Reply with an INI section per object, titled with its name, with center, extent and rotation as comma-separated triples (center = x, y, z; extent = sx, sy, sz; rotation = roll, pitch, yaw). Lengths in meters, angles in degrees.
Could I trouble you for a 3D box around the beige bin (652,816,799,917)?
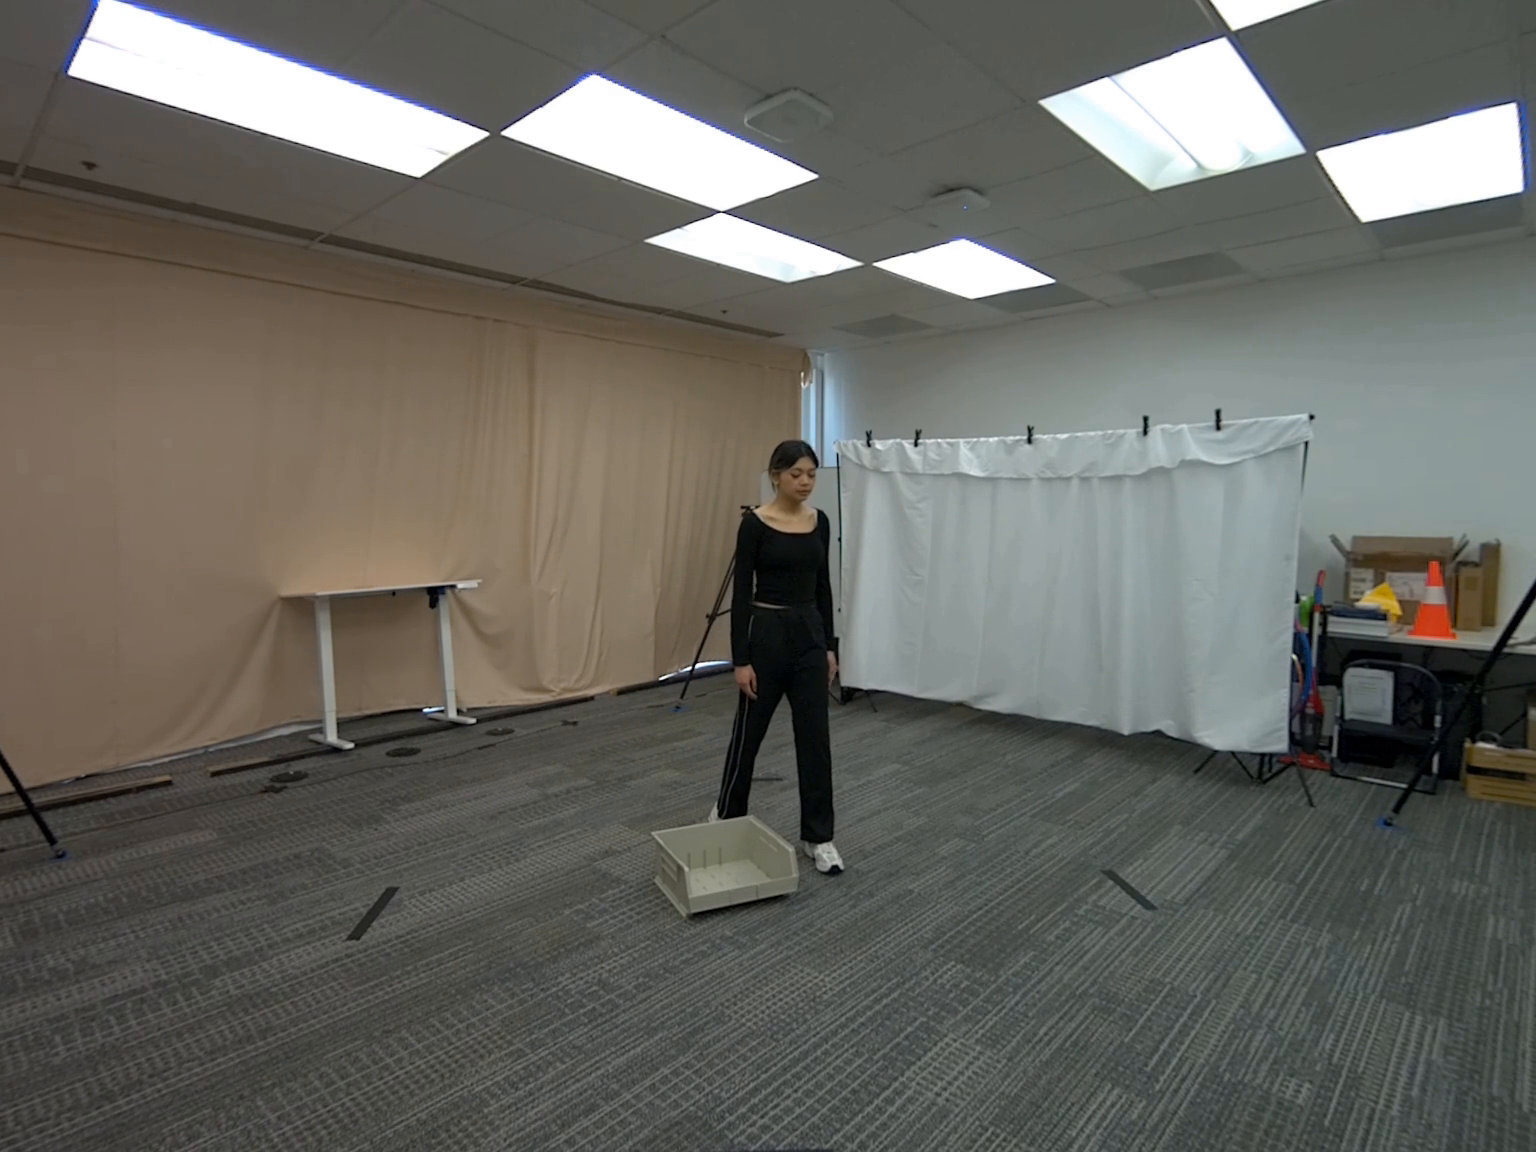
[beige bin]
center = -0.159, 1.049, 3.051
extent = 0.412, 0.188, 0.387
rotation = -3, 4, -26
